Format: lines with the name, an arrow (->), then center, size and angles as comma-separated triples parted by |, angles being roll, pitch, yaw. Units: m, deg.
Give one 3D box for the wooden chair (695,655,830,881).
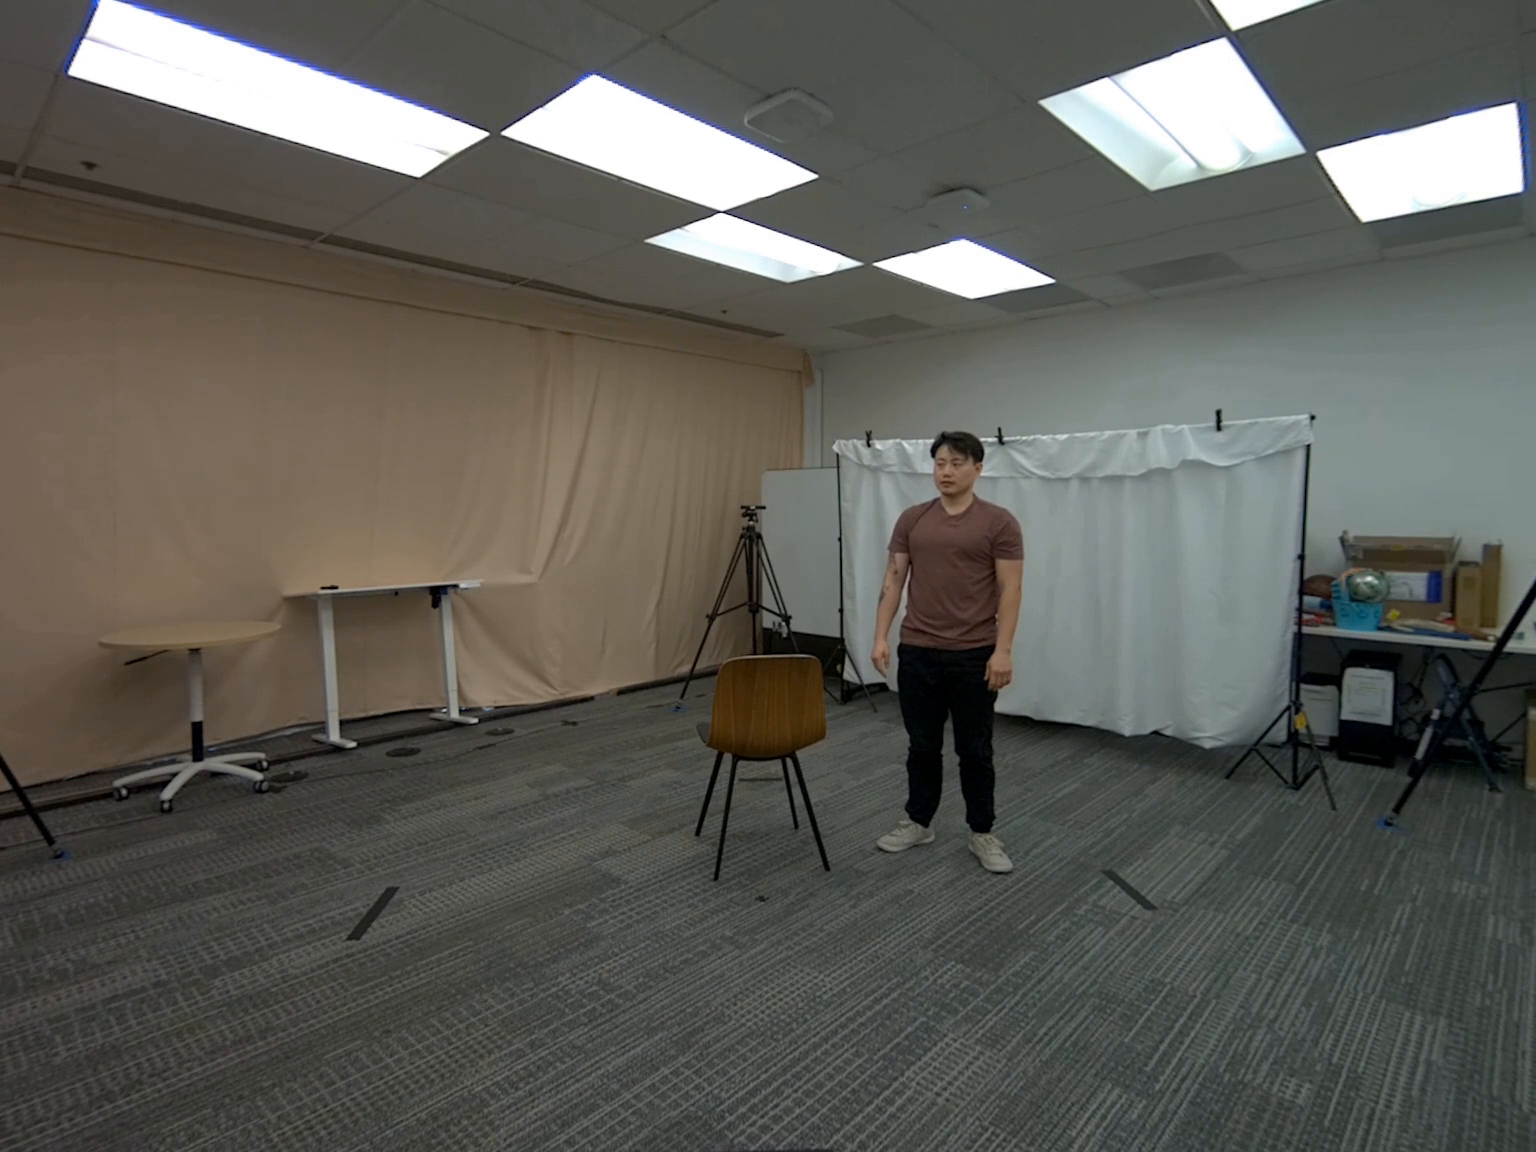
wooden chair -> -0.037, 0.687, 3.363 | 0.472, 0.873, 0.532 | -1, 7, -12
